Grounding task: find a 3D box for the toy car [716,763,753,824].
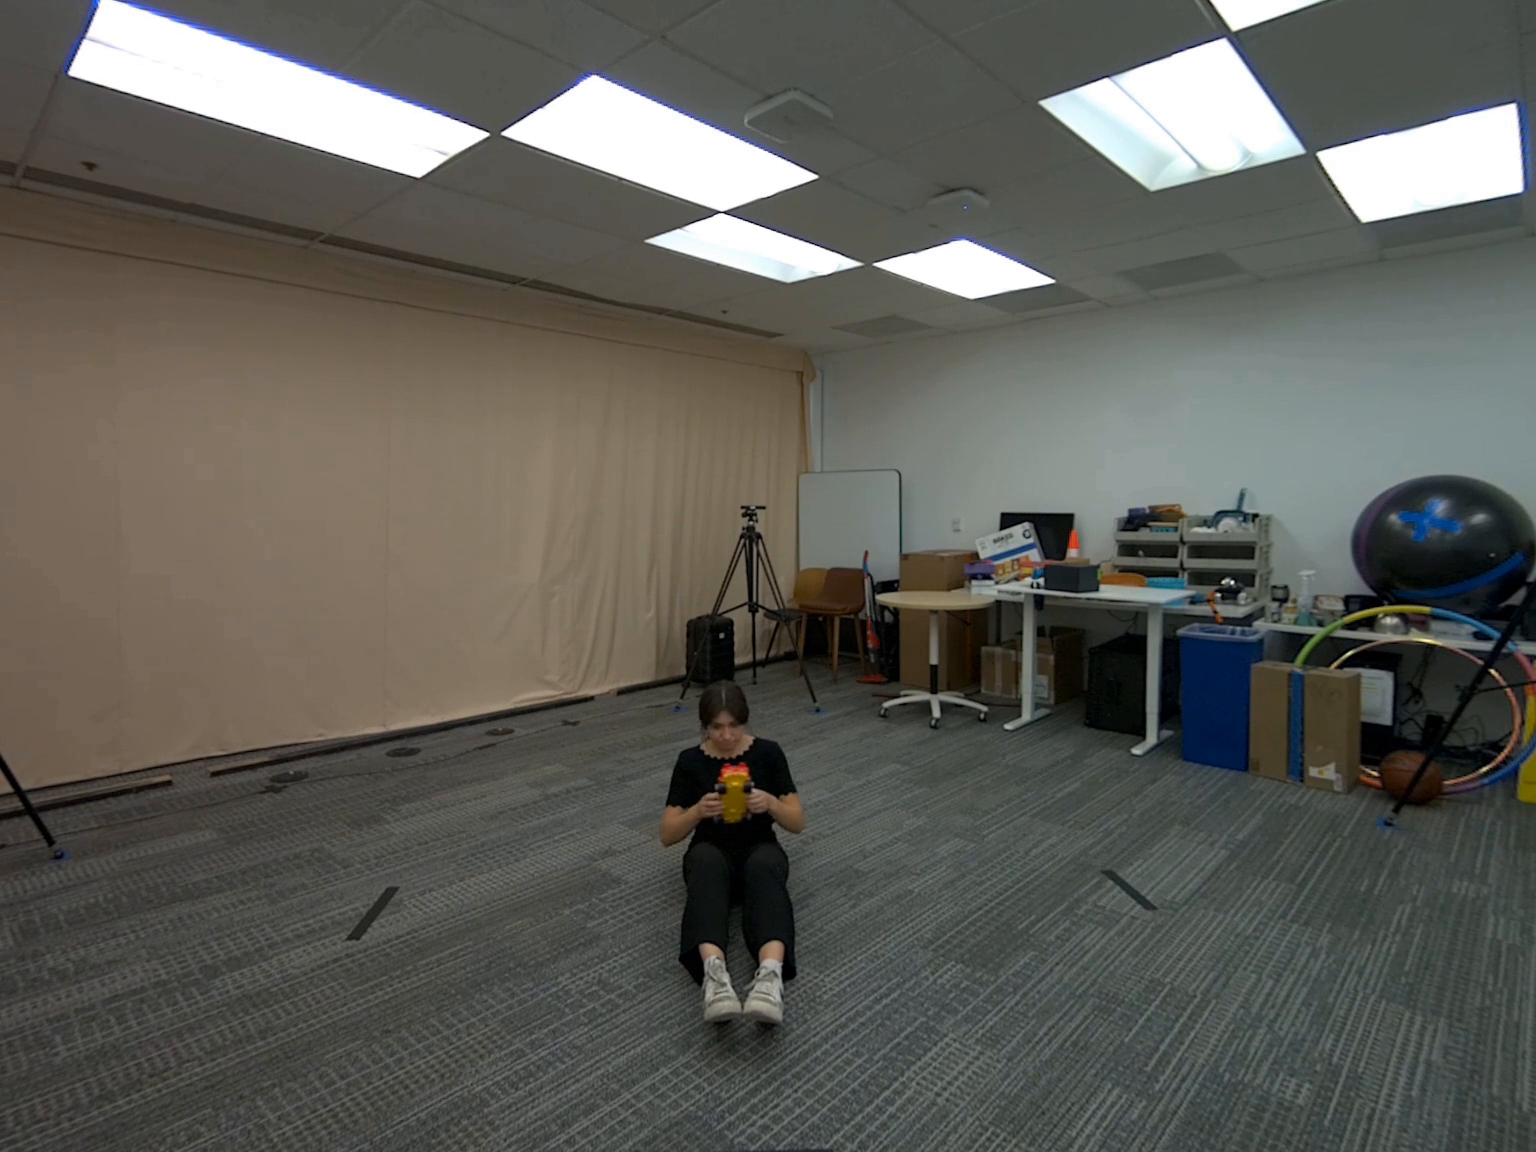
[{"bbox_3d":[-0.120,0.754,2.880,0.129,0.252,0.085,0,20,-9],"label":"toy car"}]
